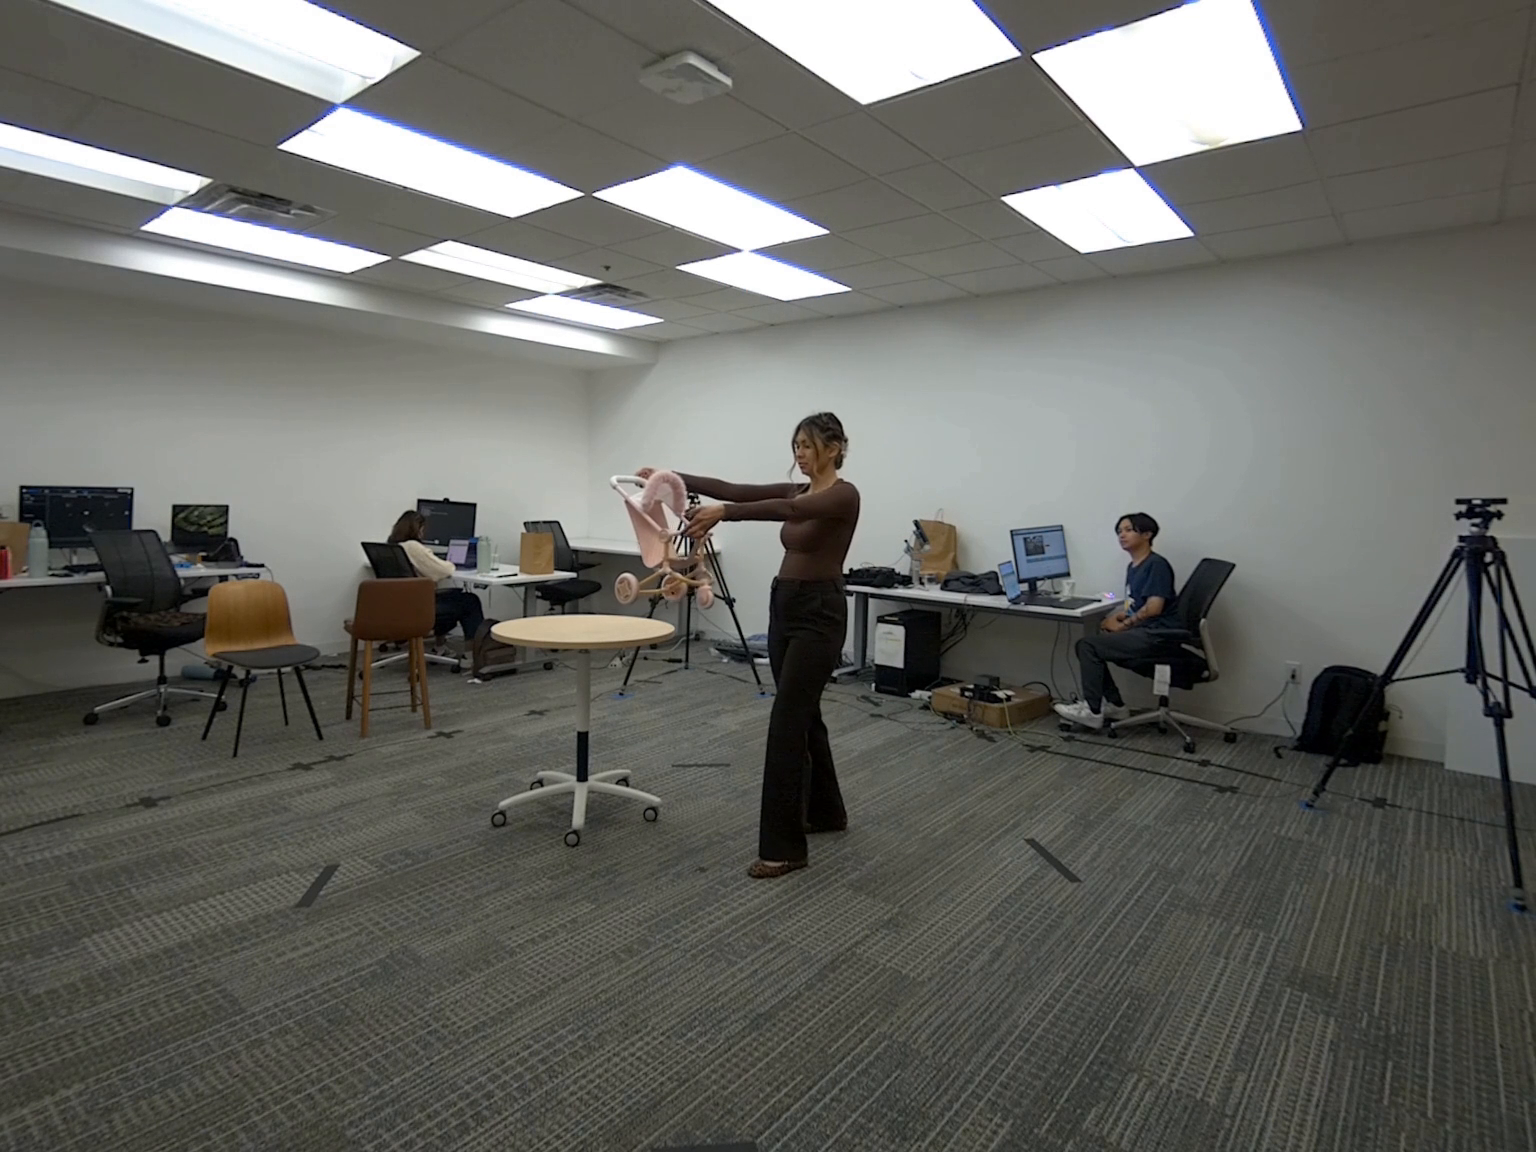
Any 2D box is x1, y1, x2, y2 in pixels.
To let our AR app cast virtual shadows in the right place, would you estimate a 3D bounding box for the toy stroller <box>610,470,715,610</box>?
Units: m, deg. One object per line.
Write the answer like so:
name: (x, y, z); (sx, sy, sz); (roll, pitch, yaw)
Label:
toy stroller: (-0.357, -0.132, 2.971); (0.349, 0.540, 0.272); (-15, -11, 40)
